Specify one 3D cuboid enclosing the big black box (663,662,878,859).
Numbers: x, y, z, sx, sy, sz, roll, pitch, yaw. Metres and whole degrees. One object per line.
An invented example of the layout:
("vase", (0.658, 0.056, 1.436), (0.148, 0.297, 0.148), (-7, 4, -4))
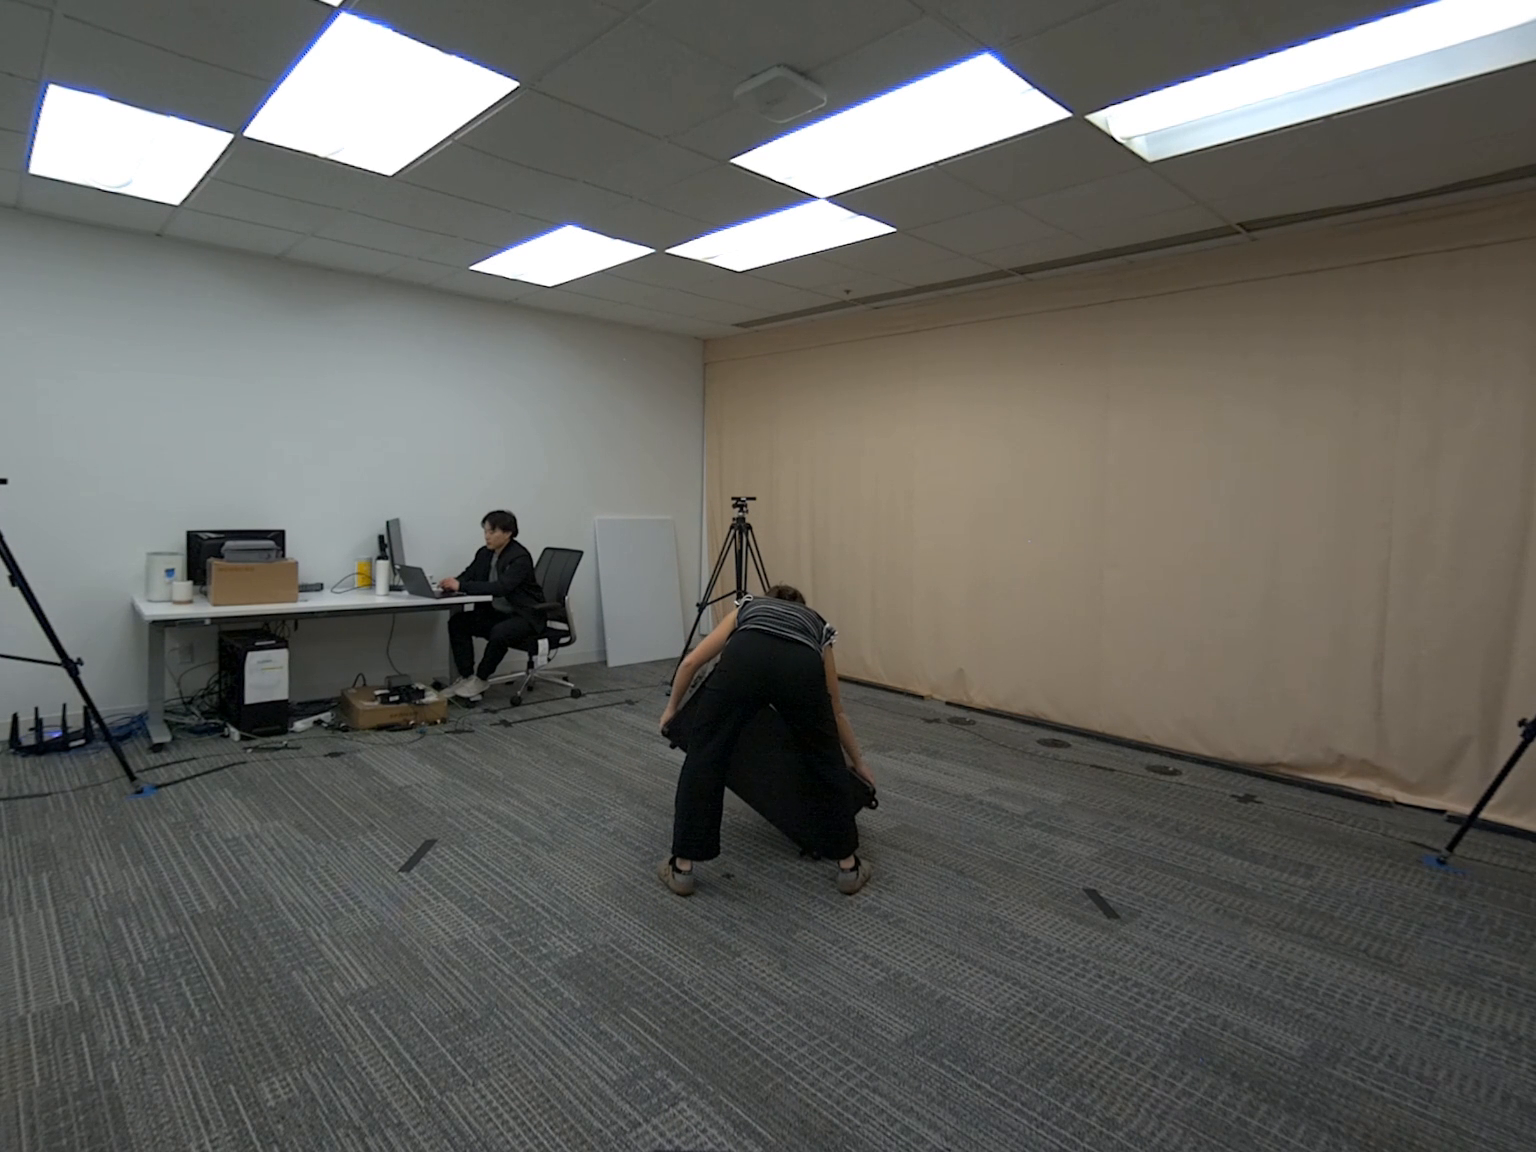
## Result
("big black box", (0.001, 0.727, 3.479), (0.861, 0.396, 0.522), (39, 3, -1))
